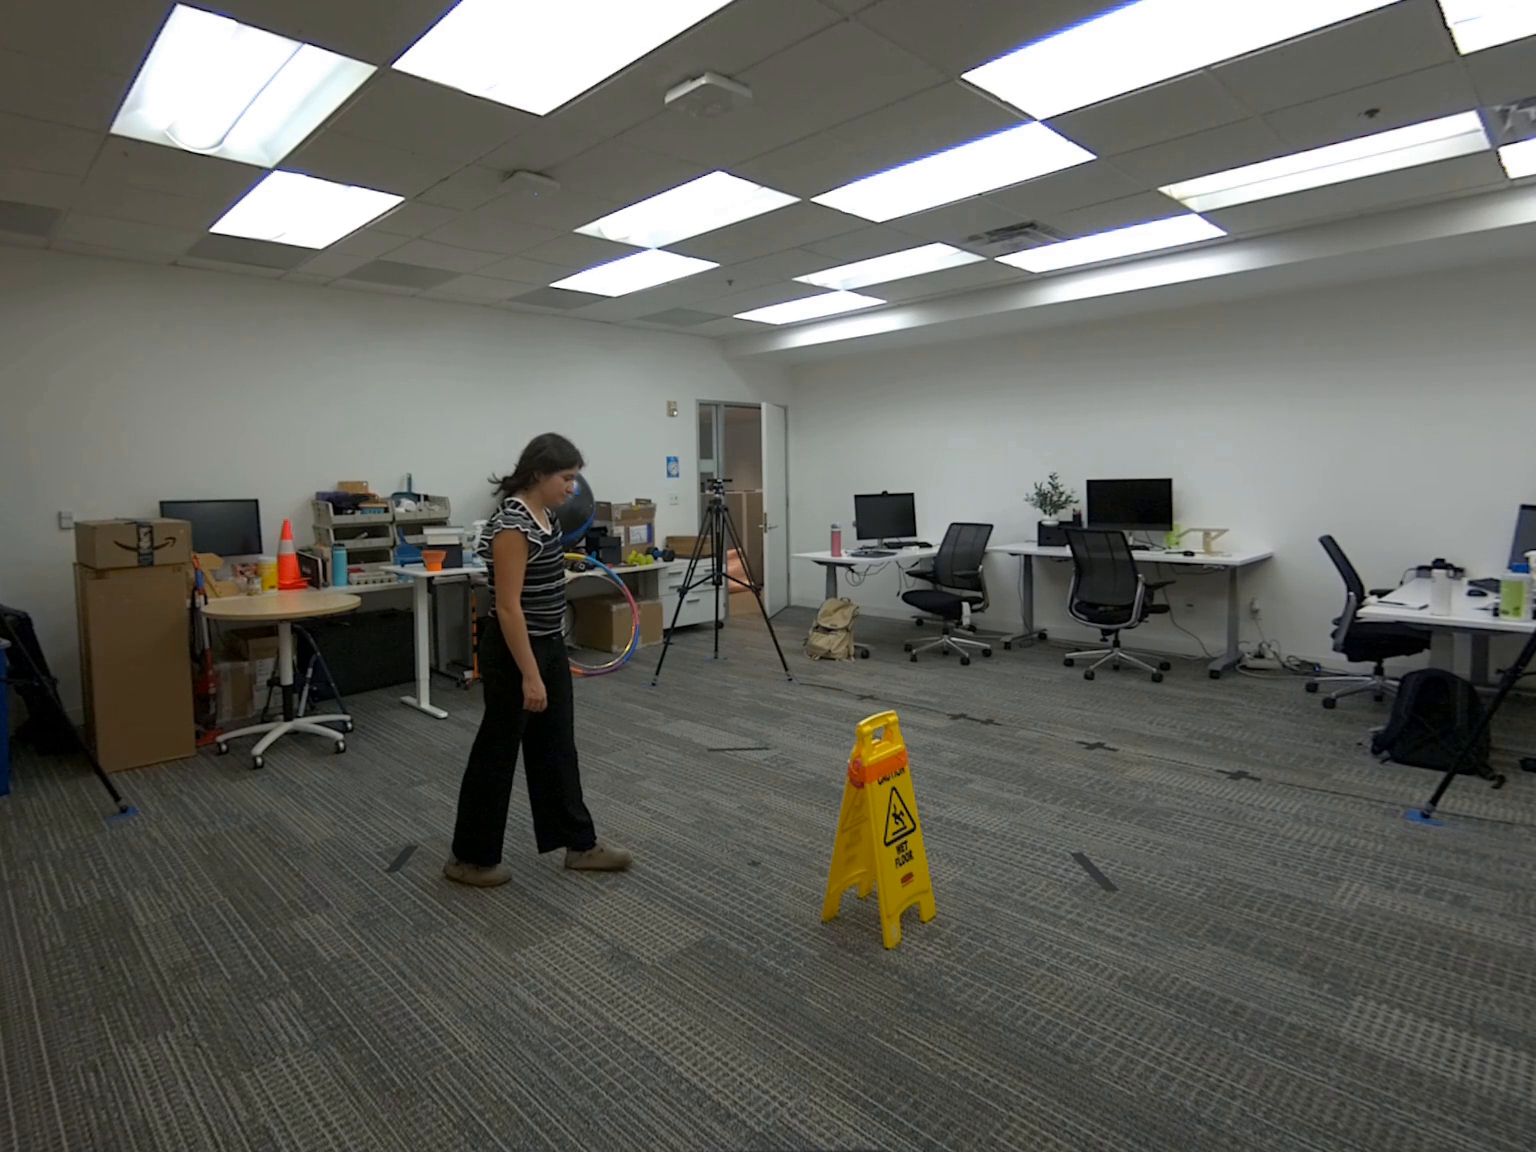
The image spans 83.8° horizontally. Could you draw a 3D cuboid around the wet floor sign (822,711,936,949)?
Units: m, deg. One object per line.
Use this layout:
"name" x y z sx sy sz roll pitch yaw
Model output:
"wet floor sign" 0.346 0.756 2.680 0.299 0.643 0.275 4 6 42
